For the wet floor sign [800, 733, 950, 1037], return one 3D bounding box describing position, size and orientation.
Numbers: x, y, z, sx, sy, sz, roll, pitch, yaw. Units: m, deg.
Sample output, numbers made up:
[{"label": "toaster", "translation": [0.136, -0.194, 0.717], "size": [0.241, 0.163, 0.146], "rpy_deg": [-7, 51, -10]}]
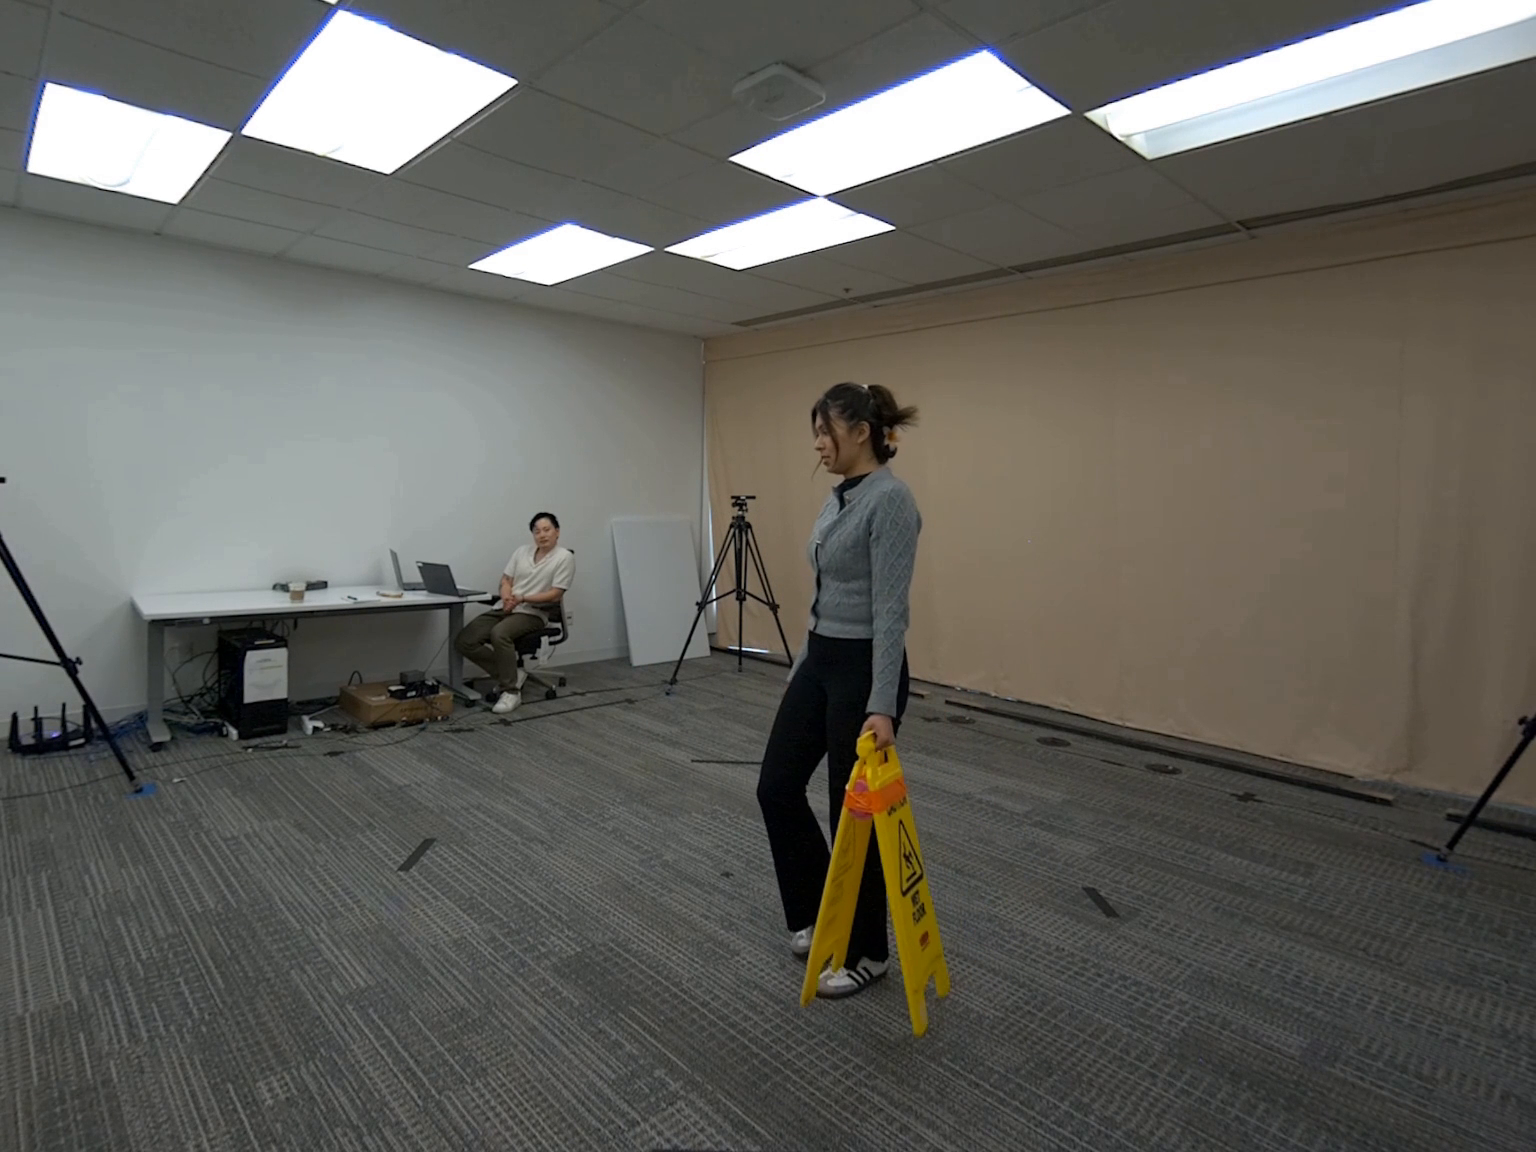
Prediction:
[{"label": "wet floor sign", "translation": [0.258, 0.712, 2.079], "size": [0.295, 0.648, 0.276], "rpy_deg": [-2, -4, 26]}]
